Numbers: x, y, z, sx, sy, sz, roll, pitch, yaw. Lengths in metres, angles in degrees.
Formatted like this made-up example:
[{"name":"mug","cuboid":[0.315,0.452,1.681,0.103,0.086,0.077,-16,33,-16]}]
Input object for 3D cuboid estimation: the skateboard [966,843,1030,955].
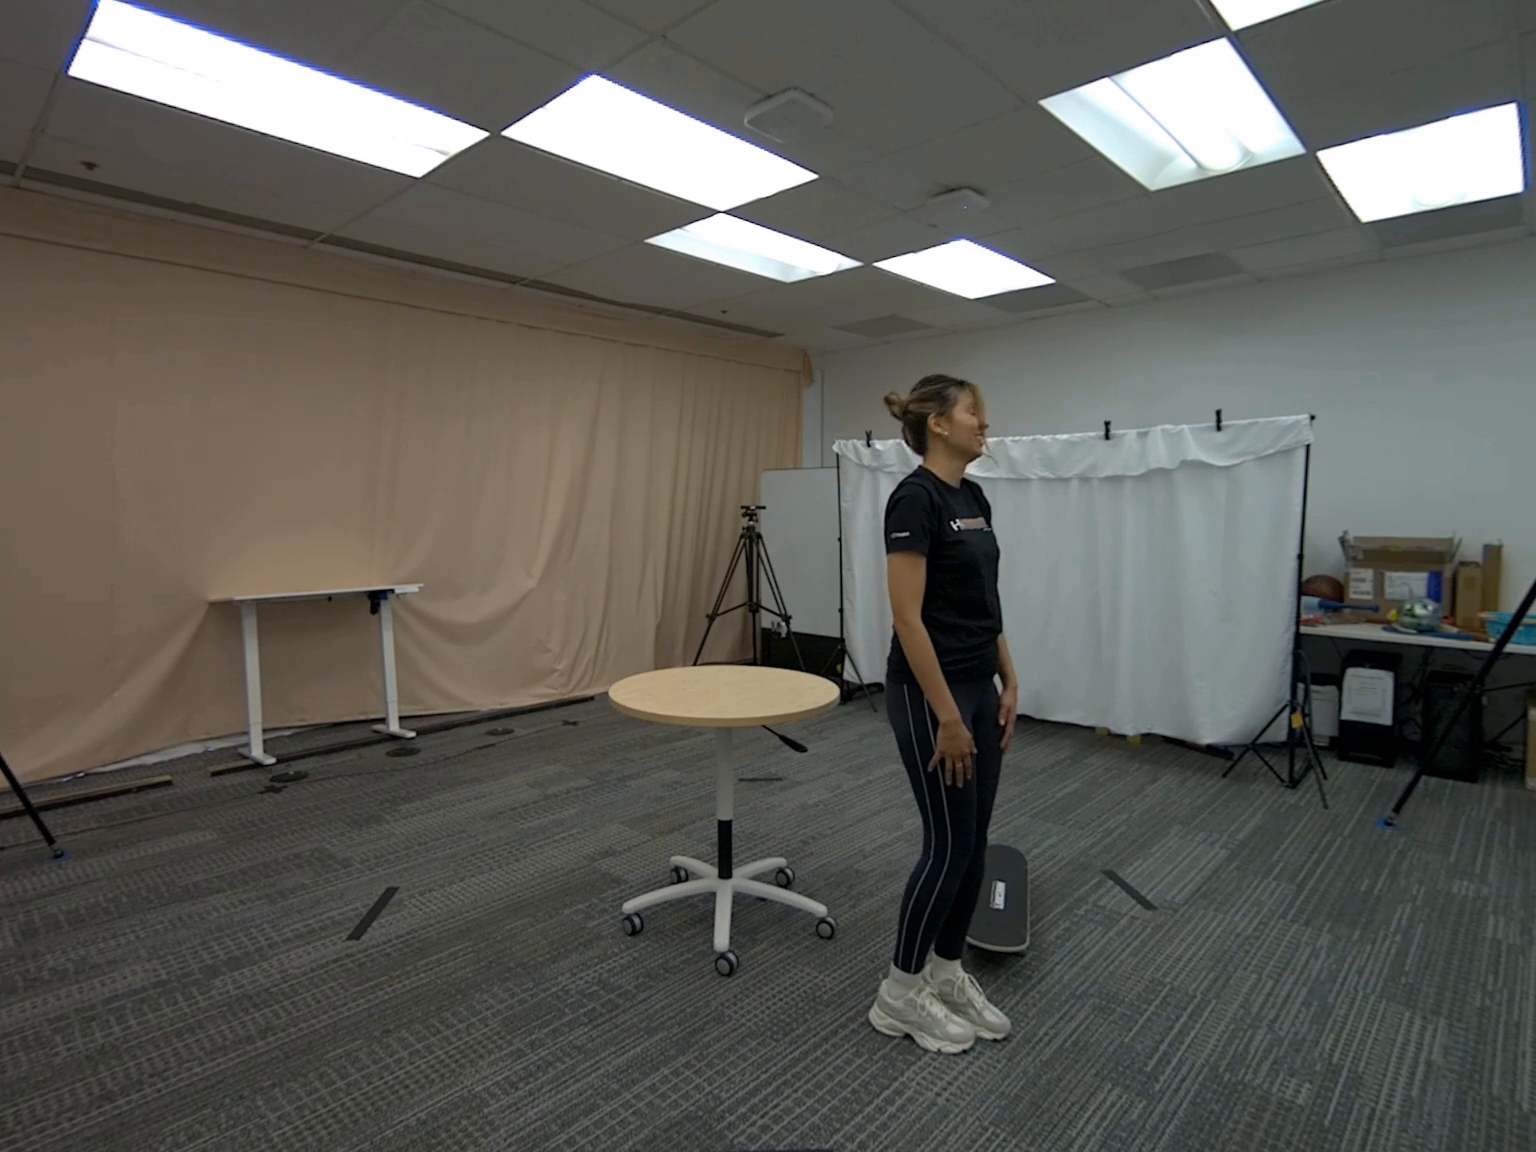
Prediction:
[{"name":"skateboard","cuboid":[0.778,1.102,2.818,0.197,0.110,0.772,0,5,17]}]
